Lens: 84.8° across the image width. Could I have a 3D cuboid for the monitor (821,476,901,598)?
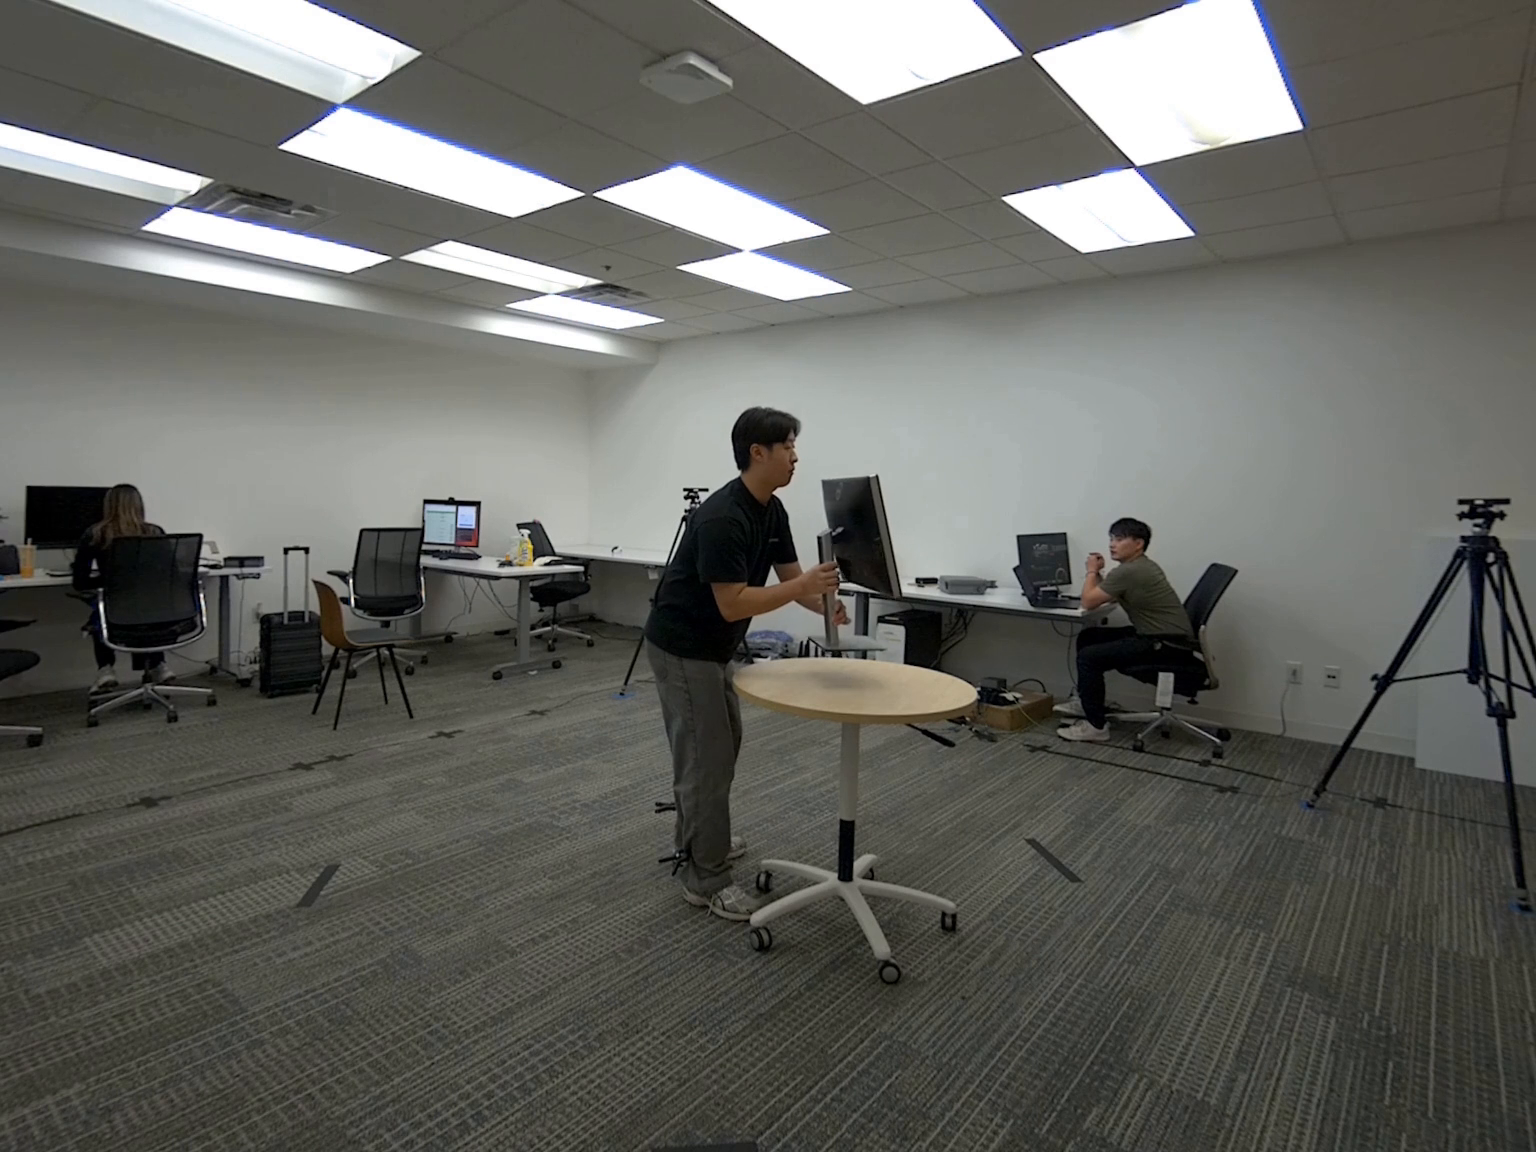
[{"bbox_3d":[0.251,-0.034,2.721,0.221,0.564,0.568,3,4,-7],"label":"monitor"}]
